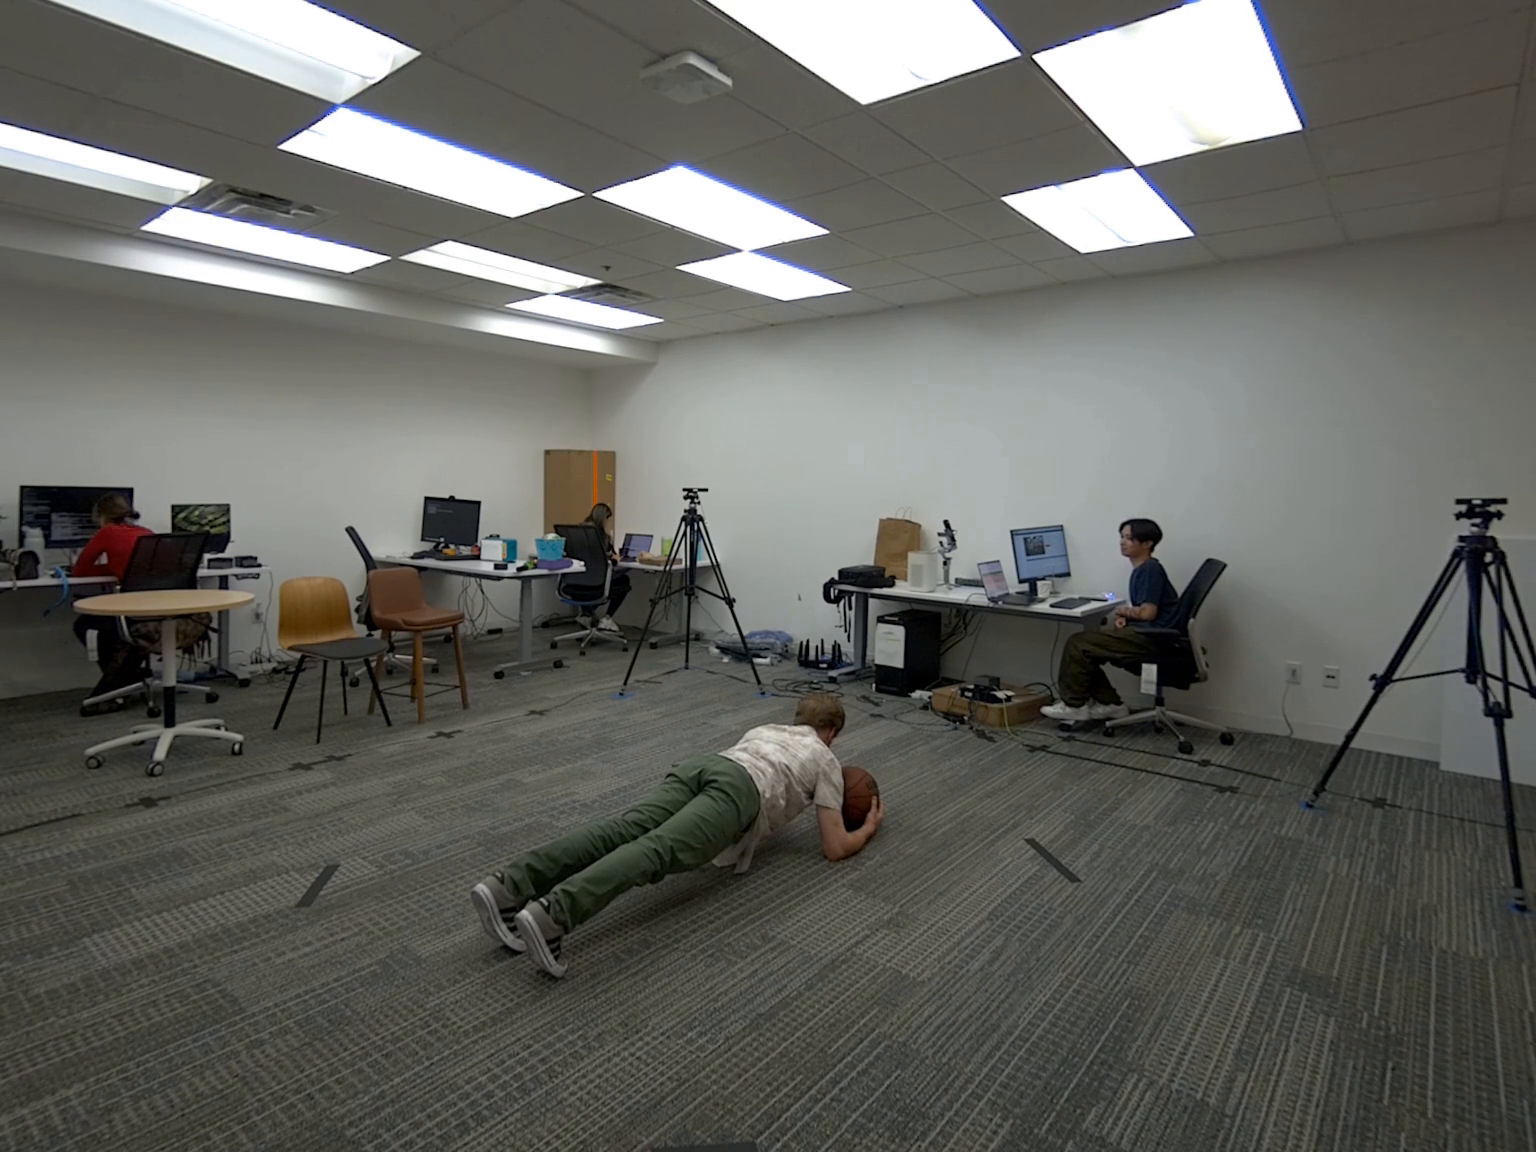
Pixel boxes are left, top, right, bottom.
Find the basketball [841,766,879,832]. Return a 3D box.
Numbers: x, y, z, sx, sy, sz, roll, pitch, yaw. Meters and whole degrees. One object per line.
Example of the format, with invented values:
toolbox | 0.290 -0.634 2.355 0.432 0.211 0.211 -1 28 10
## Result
basketball | 0.332 0.917 3.567 0.235 0.235 0.237 1 4 -2
